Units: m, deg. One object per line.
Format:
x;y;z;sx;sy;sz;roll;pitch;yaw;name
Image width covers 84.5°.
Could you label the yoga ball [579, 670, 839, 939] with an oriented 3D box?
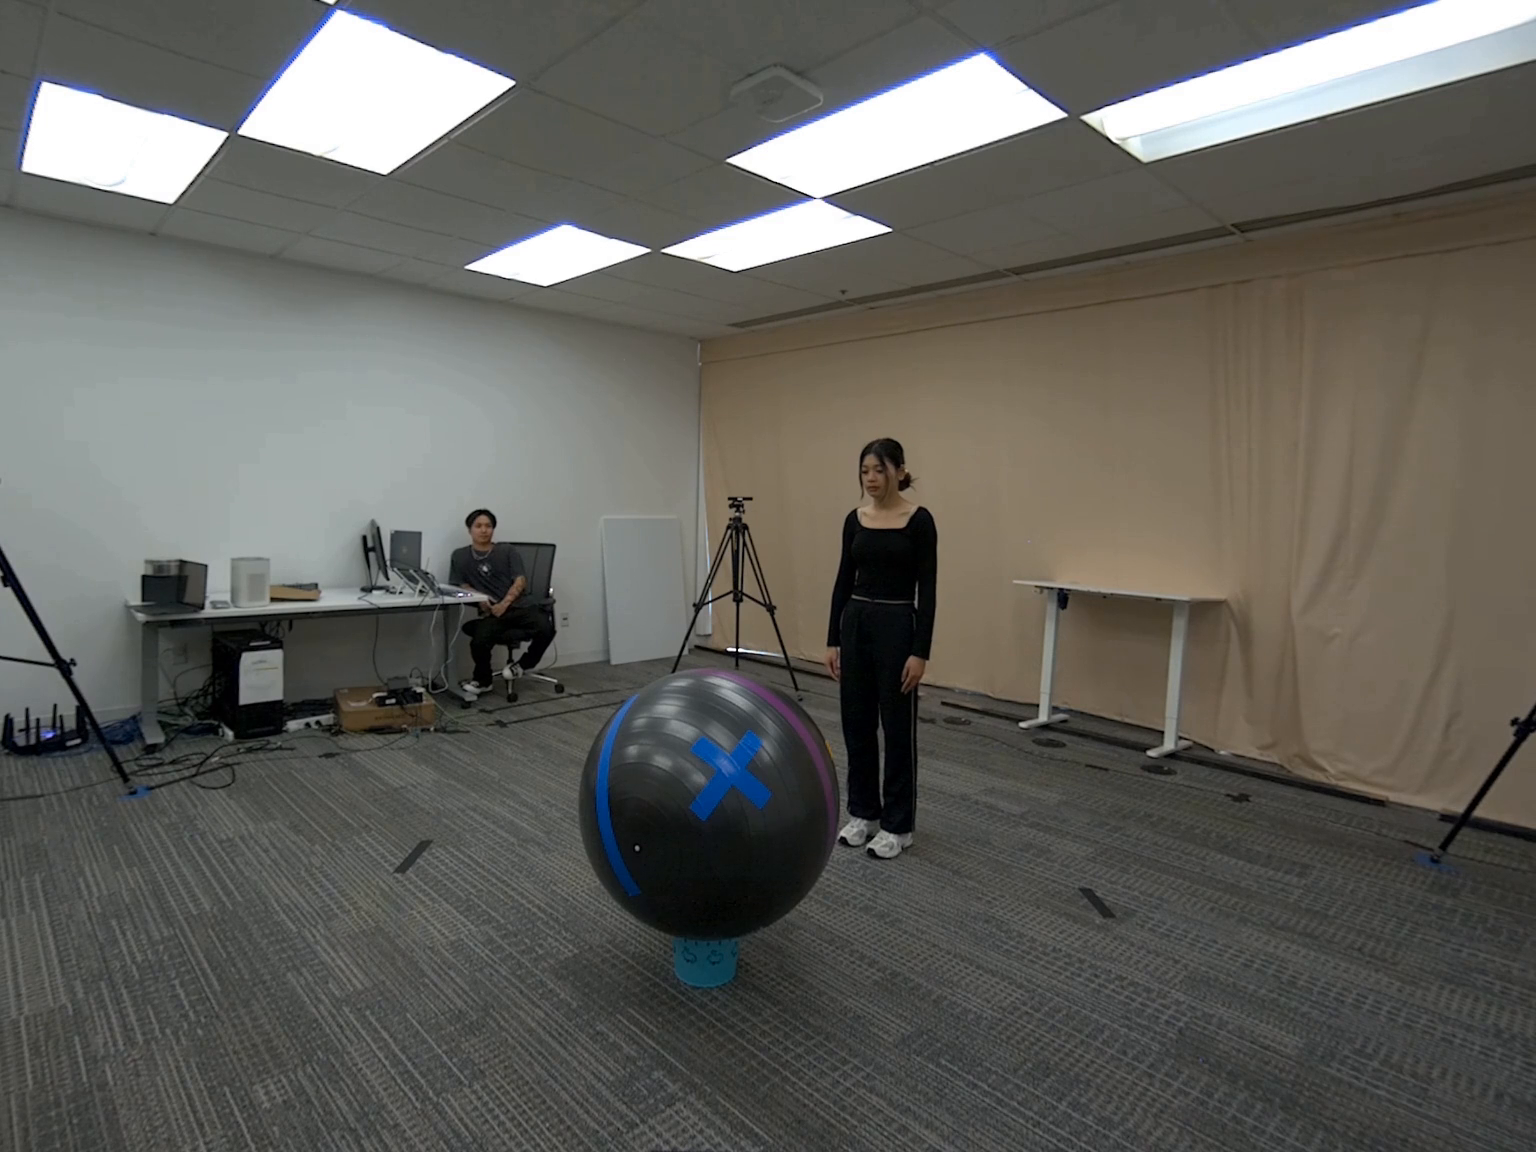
-0.176;0.657;2.458;0.757;0.756;0.761;1;4;-1;yoga ball
